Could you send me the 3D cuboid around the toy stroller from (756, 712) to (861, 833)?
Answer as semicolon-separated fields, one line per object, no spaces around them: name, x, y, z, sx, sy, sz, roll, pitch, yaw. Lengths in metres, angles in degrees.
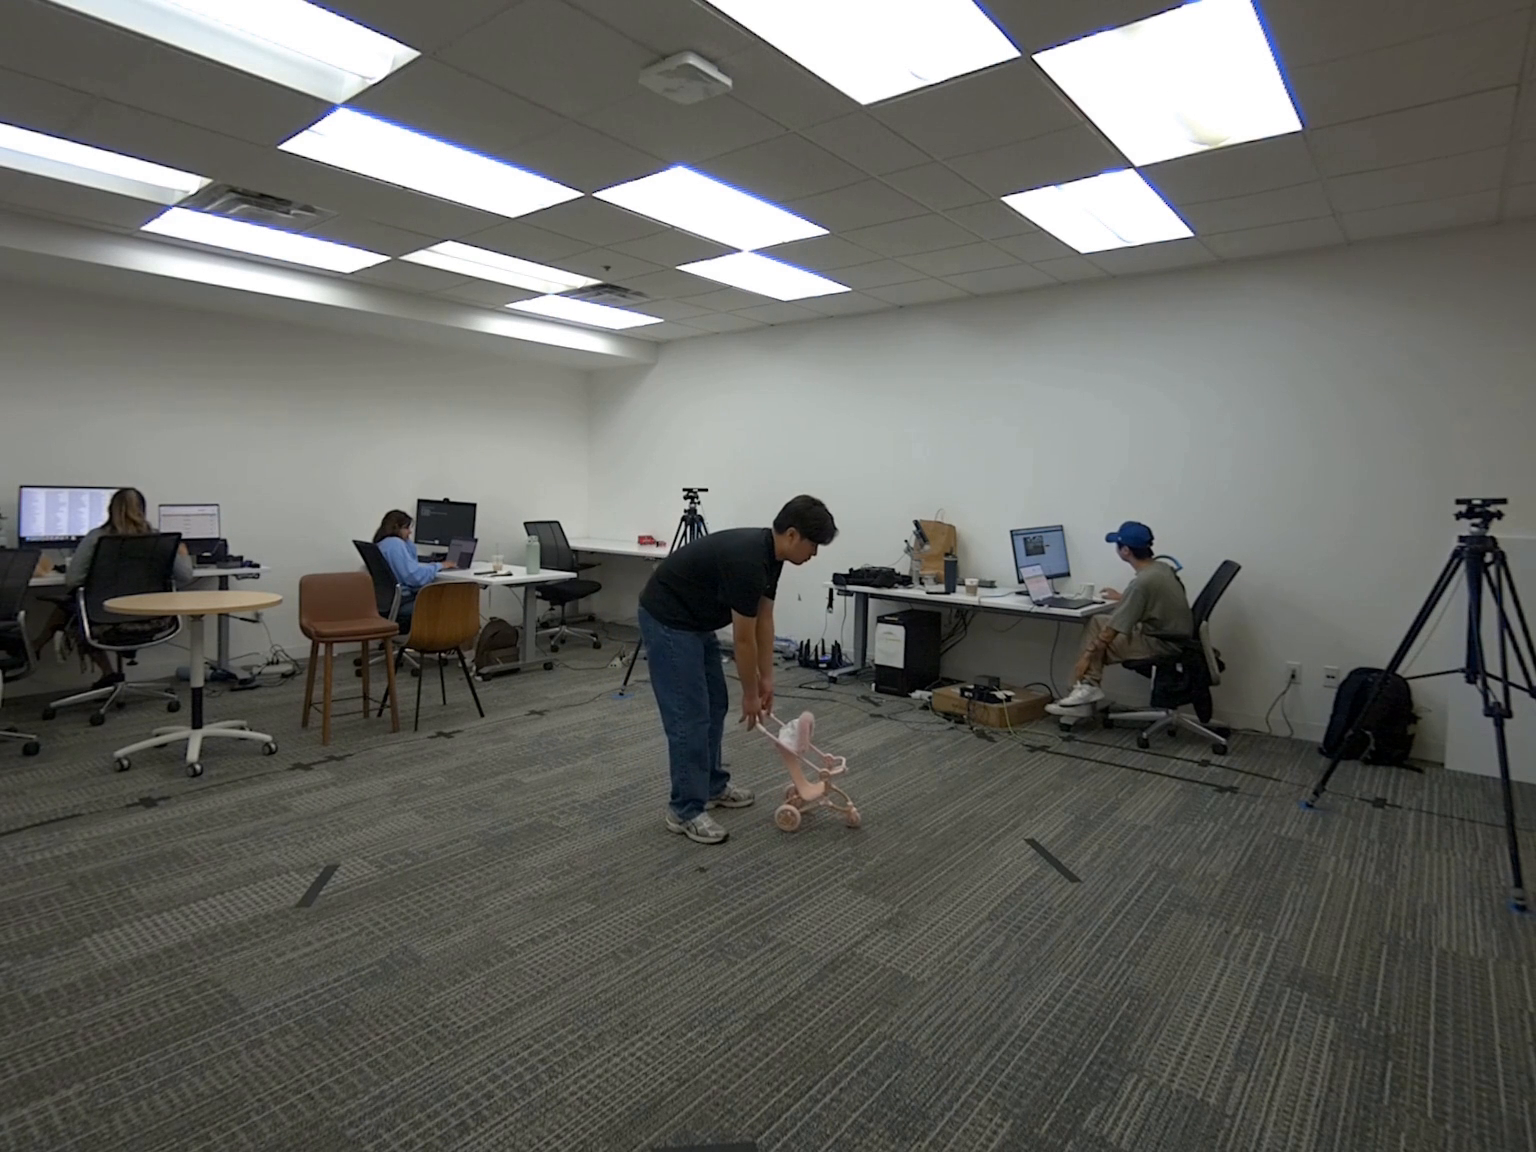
toy stroller;0.162;0.811;3.560;0.346;0.535;0.278;-13;1;17
